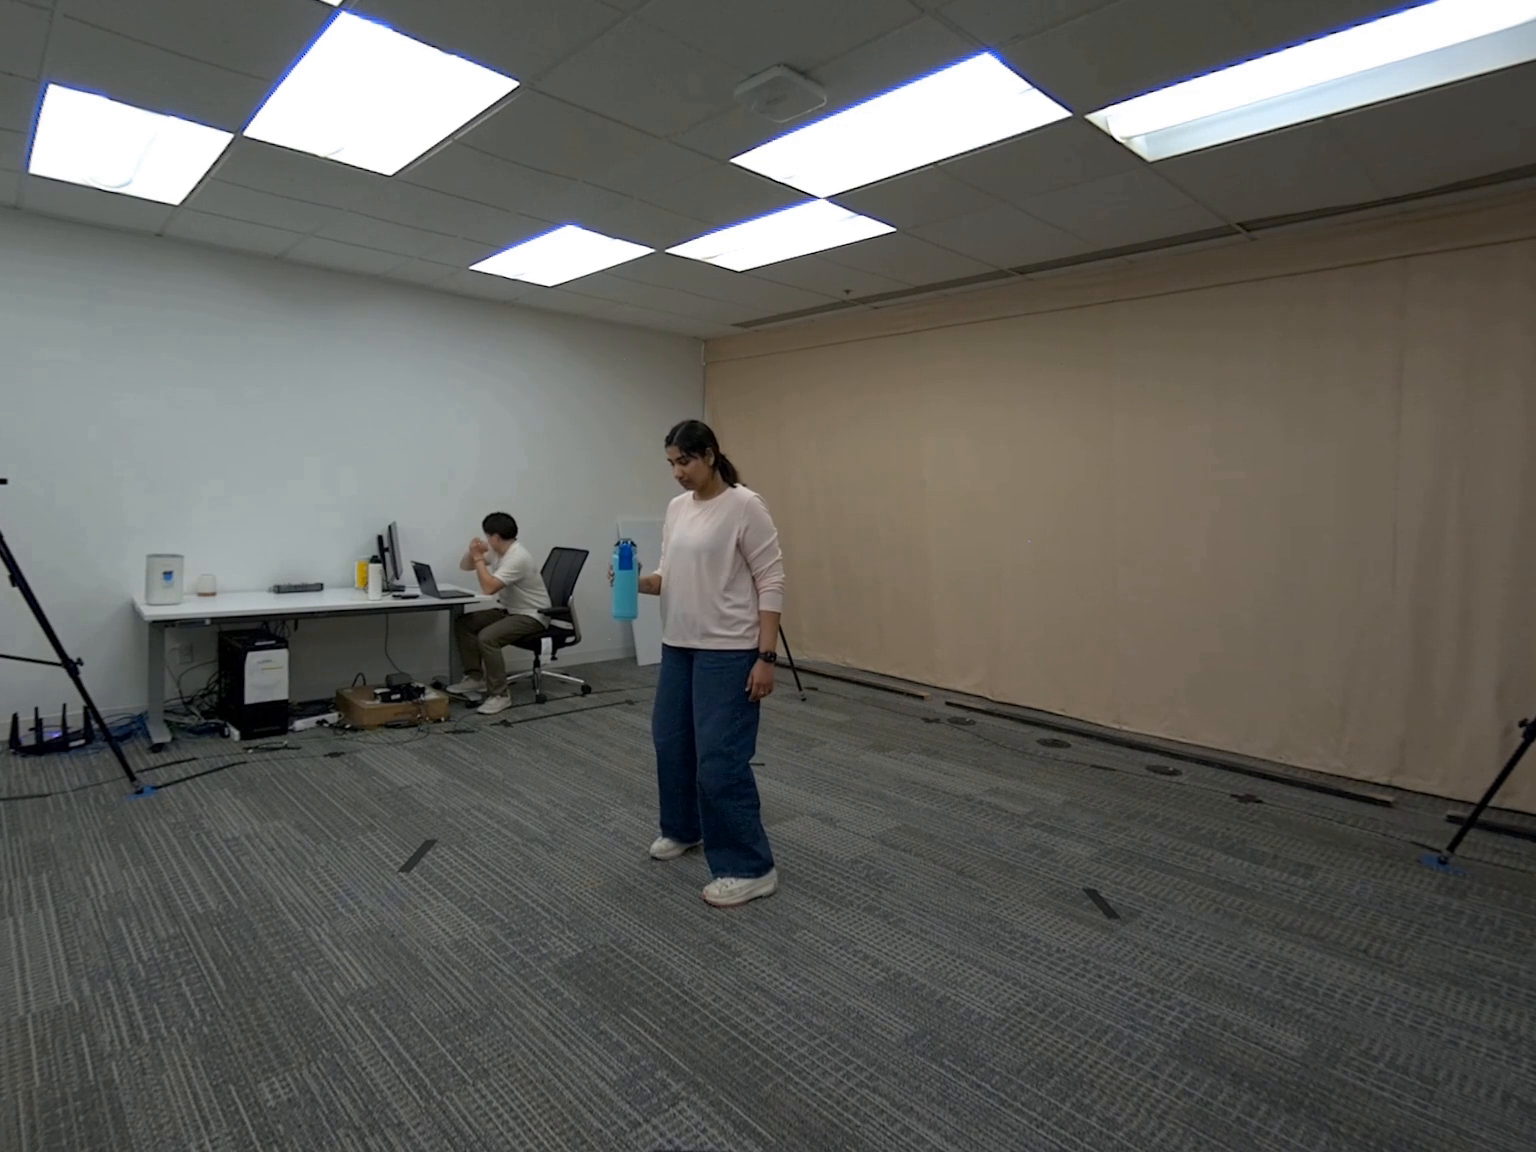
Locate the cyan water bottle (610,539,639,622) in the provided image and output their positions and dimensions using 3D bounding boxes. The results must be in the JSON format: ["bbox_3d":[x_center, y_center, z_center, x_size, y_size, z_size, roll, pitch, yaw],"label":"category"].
[{"bbox_3d":[-0.504,0.009,2.944,0.092,0.282,0.093,1,6,-2],"label":"cyan water bottle"}]
